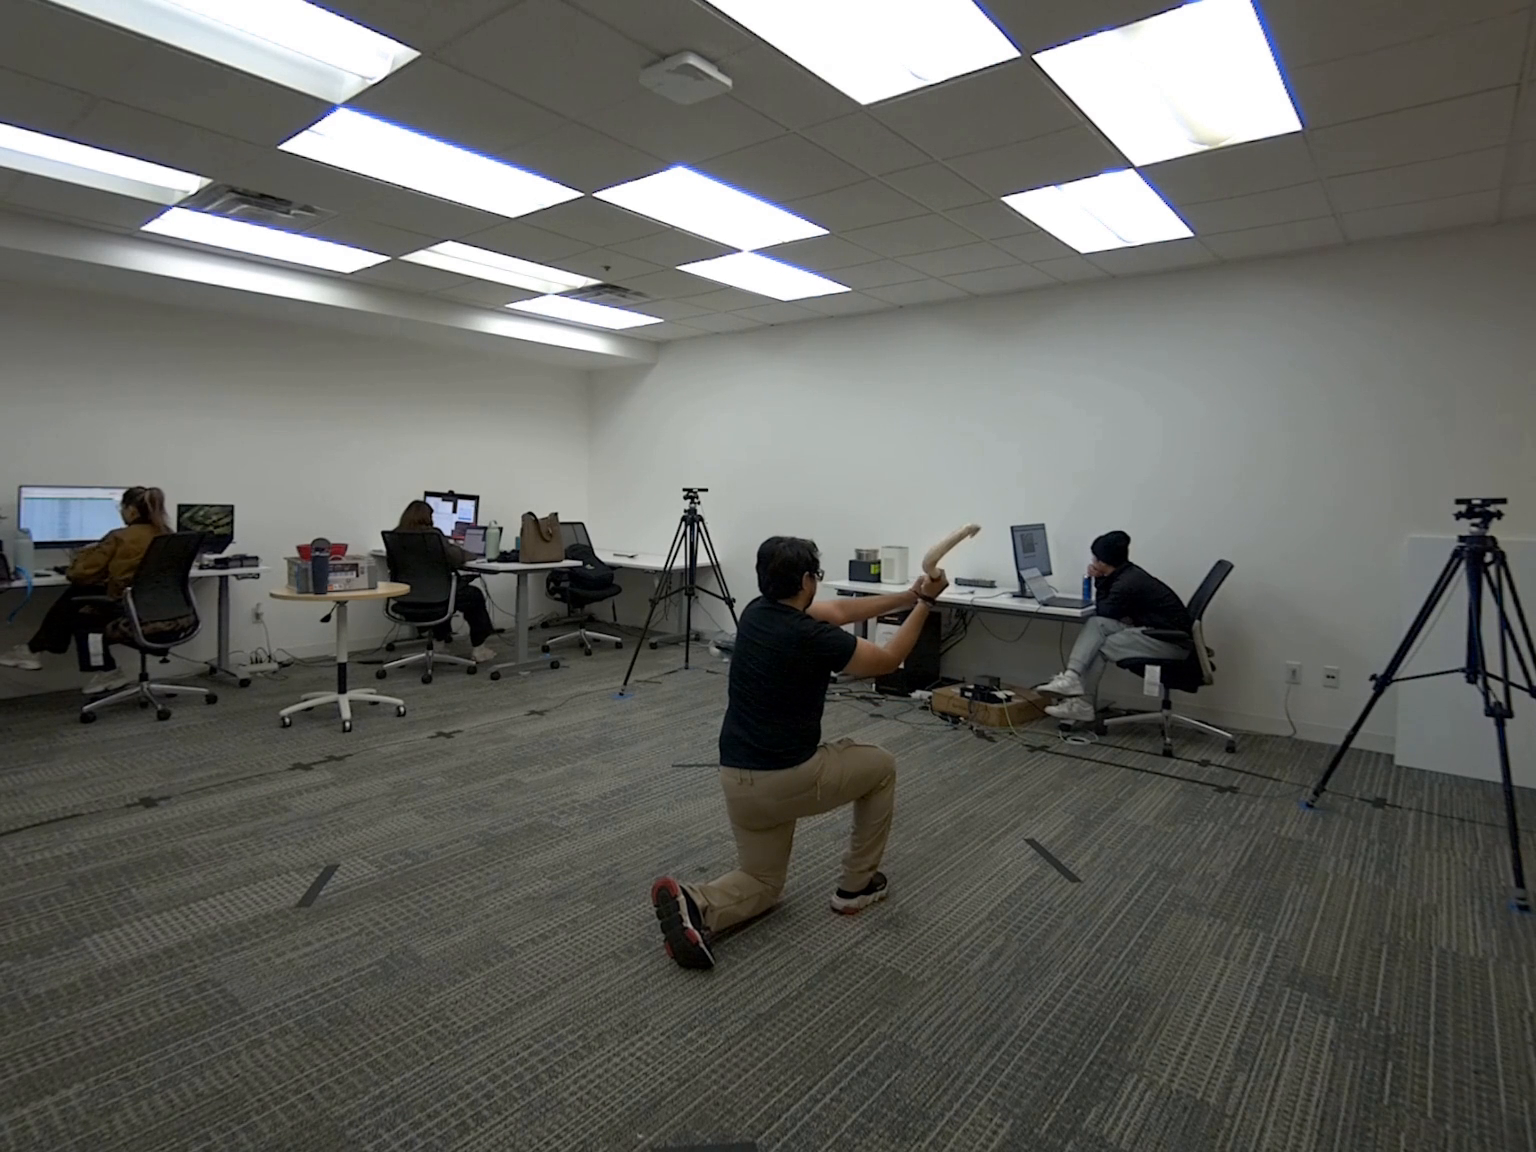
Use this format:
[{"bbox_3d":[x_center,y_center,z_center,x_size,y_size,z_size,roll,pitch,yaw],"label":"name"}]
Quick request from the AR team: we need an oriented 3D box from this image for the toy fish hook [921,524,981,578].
[{"bbox_3d":[0.582,-0.038,2.776,0.224,0.049,0.496,-30,-16,-5],"label":"toy fish hook"}]
